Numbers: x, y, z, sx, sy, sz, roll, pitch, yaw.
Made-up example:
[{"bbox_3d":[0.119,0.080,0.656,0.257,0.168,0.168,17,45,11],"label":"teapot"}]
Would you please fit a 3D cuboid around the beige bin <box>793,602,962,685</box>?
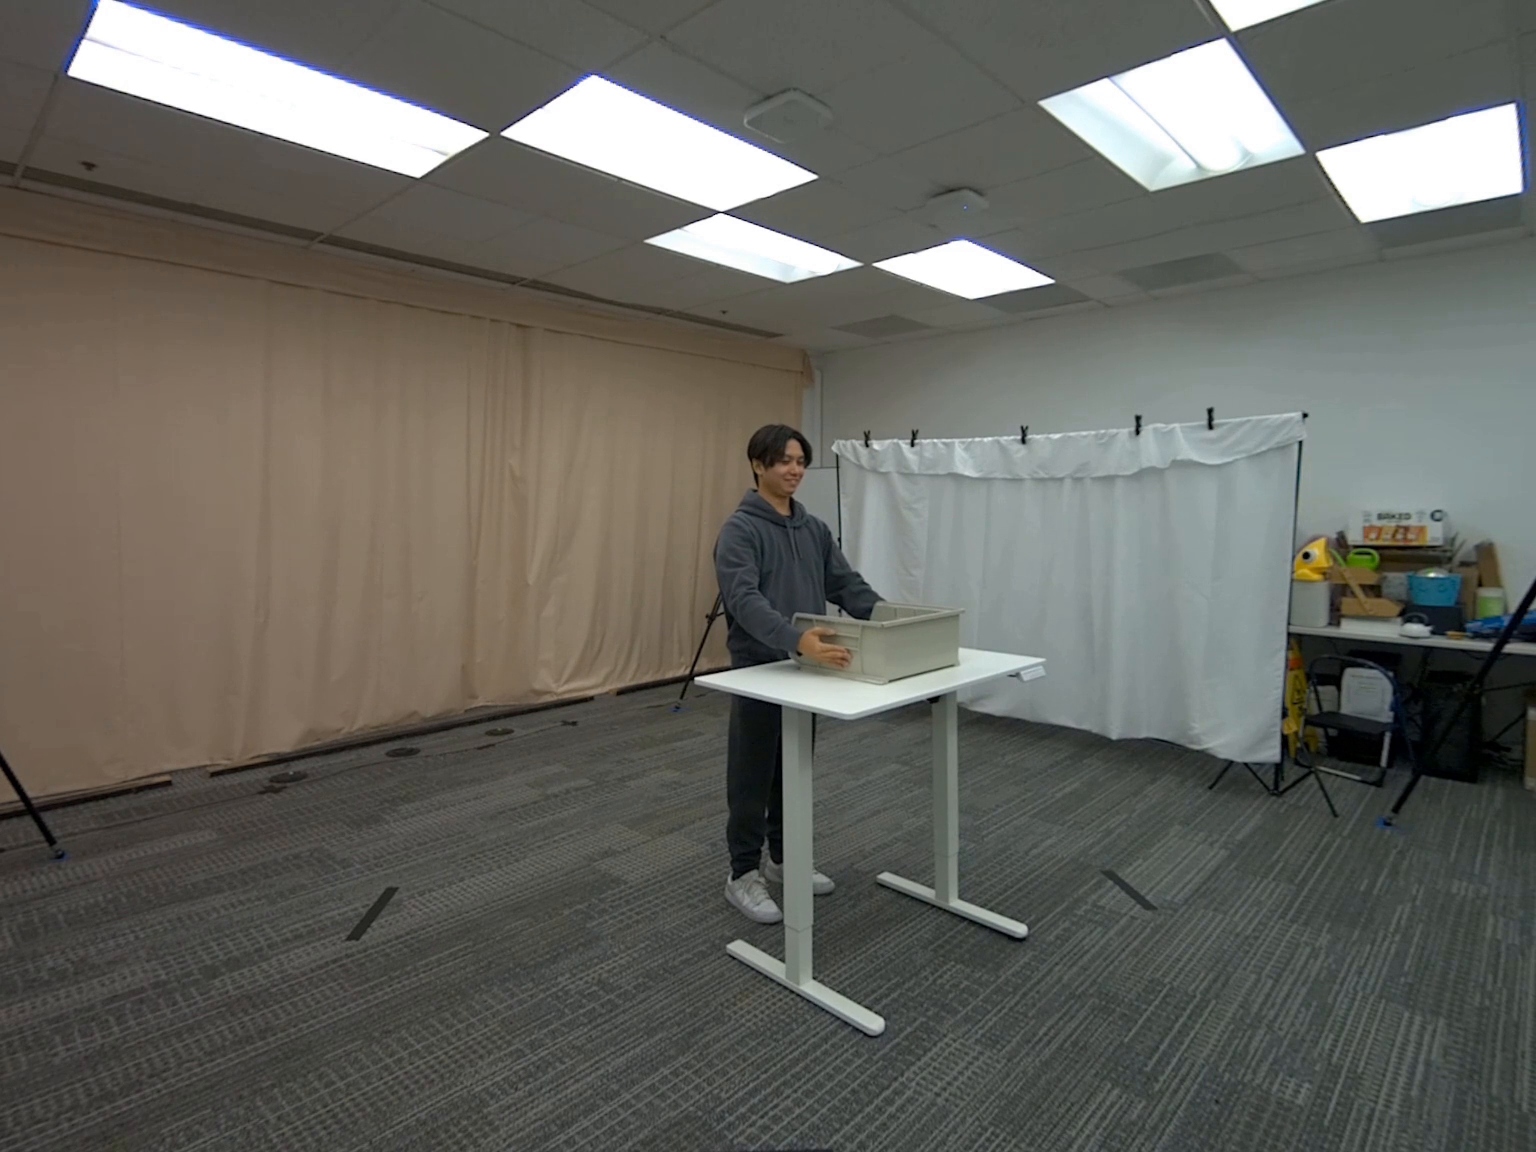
[{"bbox_3d":[0.348,0.206,2.637,0.409,0.188,0.390,-5,7,-44],"label":"beige bin"}]
